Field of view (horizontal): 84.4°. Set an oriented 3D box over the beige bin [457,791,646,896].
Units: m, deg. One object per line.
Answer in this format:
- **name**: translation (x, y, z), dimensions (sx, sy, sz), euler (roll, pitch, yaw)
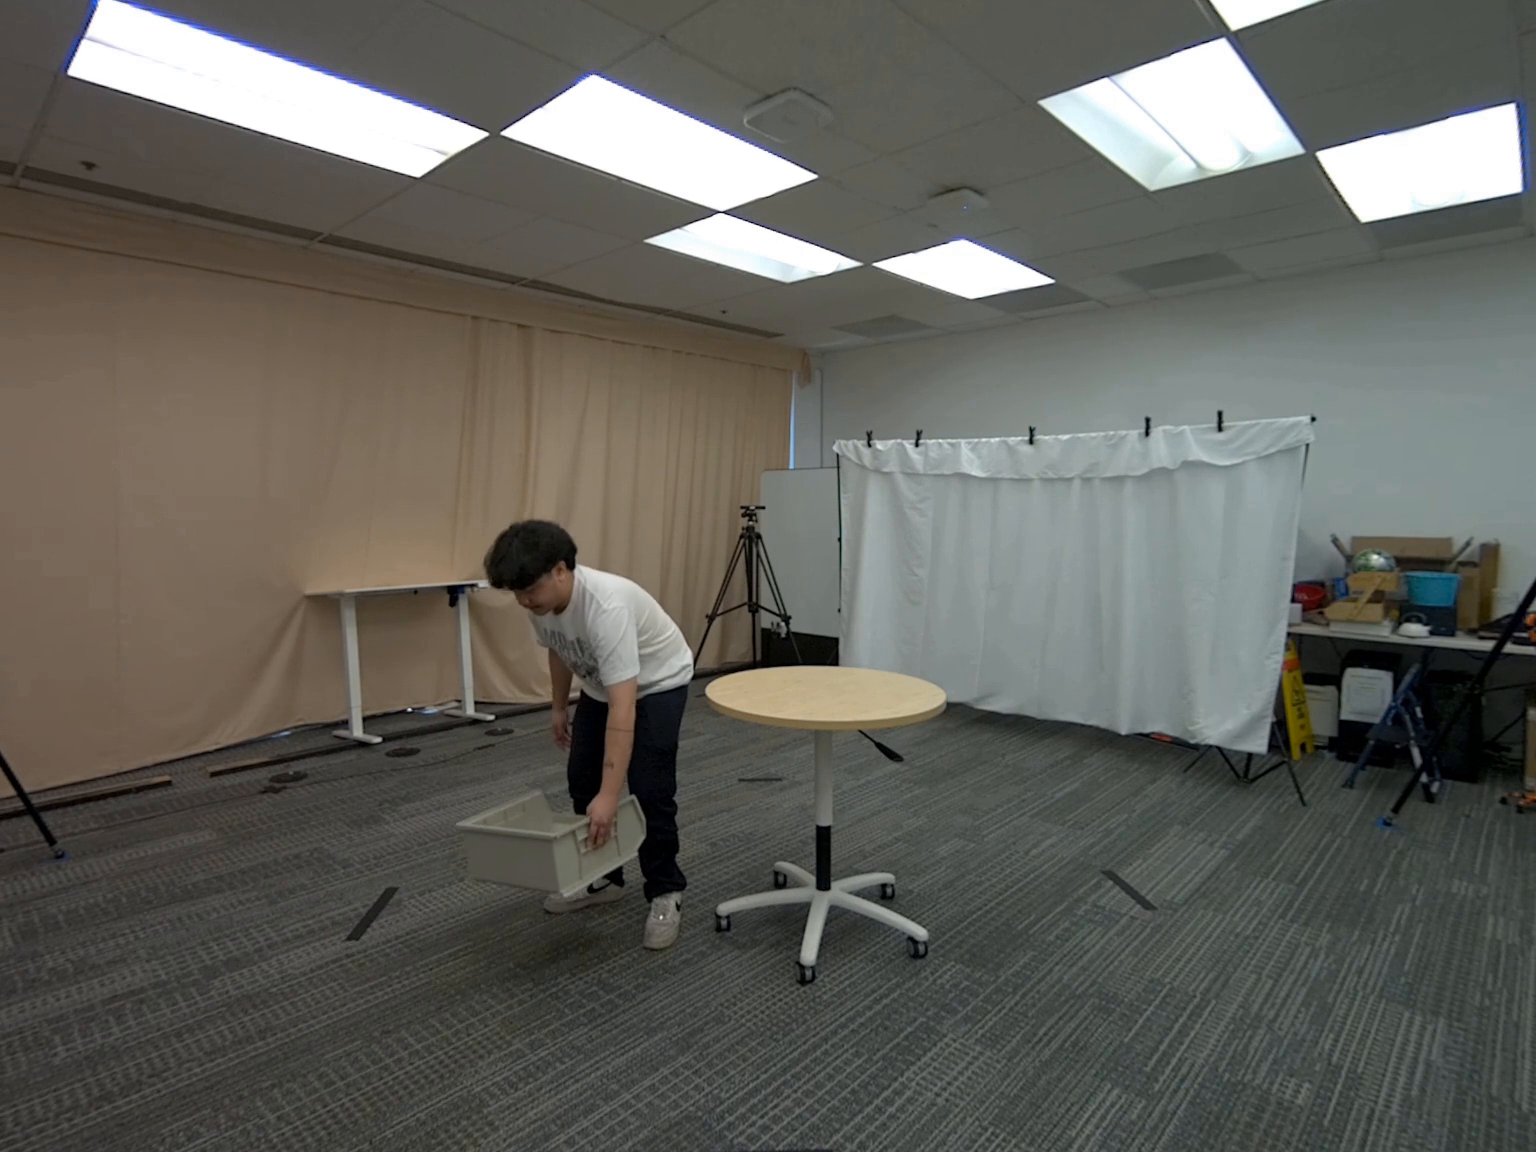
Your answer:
- **beige bin**: translation (-0.645, 0.793, 2.541), dimensions (0.433, 0.189, 0.368), euler (-8, 2, 33)
